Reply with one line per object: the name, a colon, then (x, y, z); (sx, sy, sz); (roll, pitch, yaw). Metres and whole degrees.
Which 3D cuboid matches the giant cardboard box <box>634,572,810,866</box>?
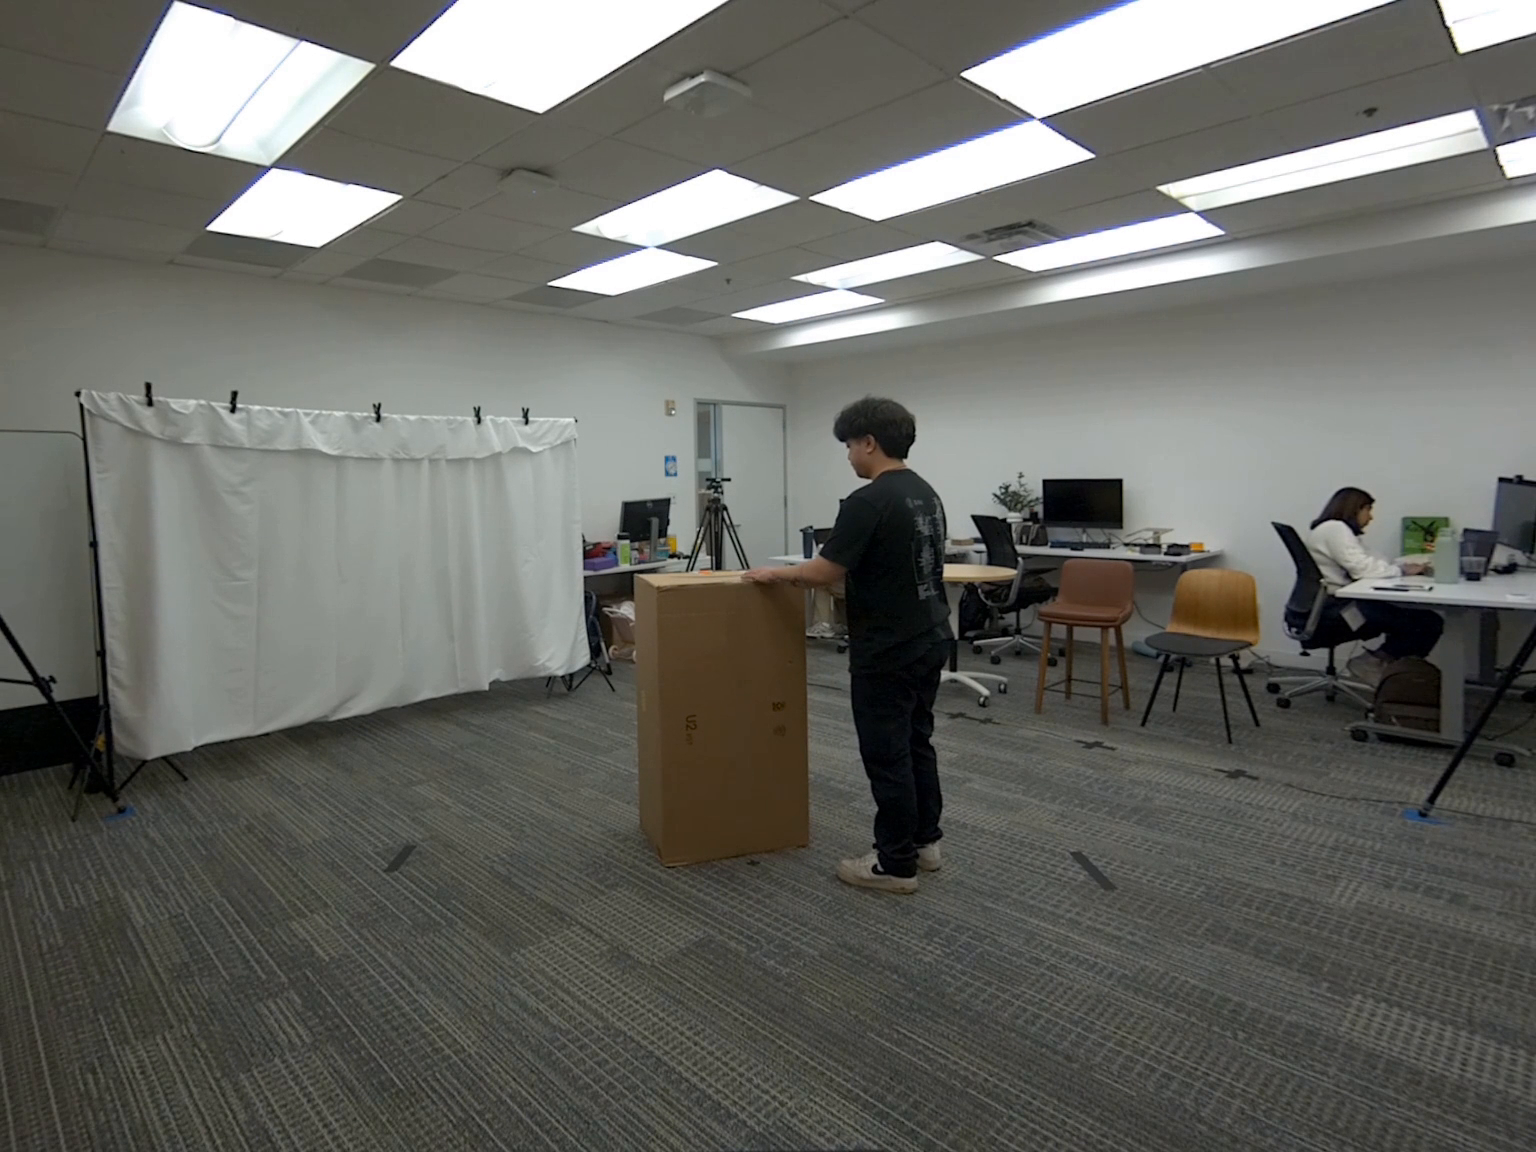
giant cardboard box: (-0.190, 0.505, 3.333); (0.575, 1.024, 0.455); (-2, 4, -18)
